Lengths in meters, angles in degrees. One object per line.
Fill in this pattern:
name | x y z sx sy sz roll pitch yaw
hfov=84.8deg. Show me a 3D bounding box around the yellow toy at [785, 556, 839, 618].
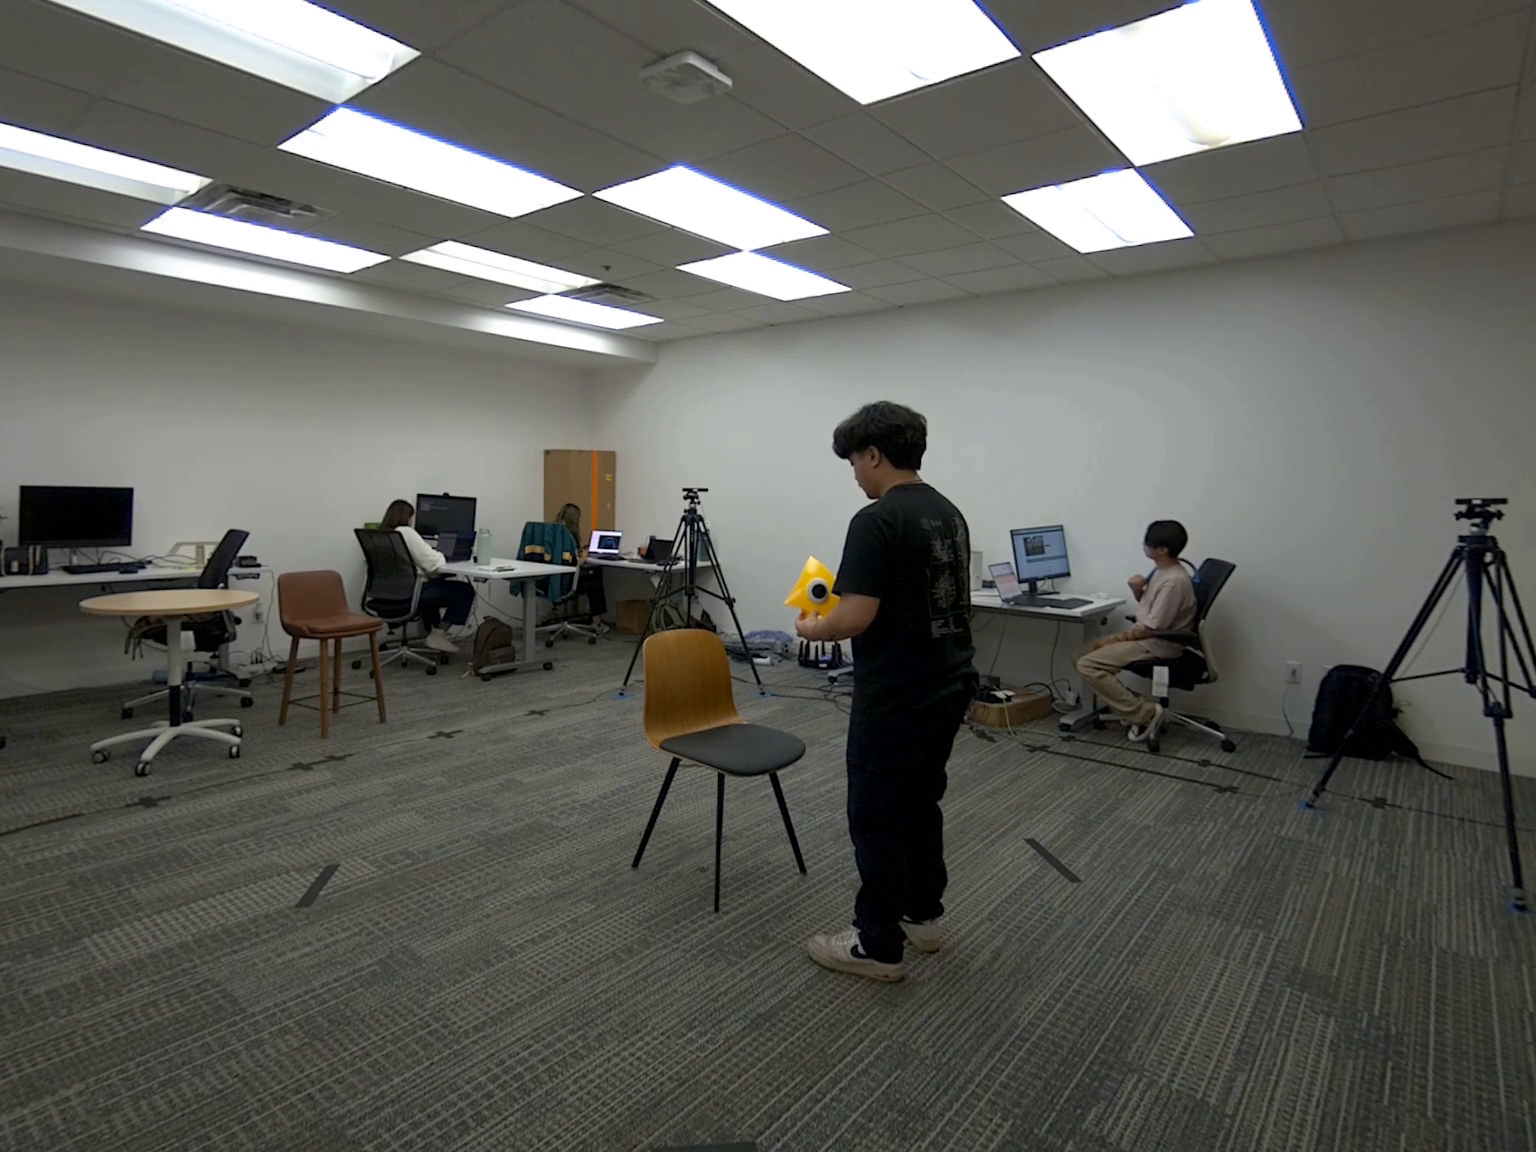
yellow toy | 0.181 0.055 2.707 0.199 0.230 0.199 5 5 32
